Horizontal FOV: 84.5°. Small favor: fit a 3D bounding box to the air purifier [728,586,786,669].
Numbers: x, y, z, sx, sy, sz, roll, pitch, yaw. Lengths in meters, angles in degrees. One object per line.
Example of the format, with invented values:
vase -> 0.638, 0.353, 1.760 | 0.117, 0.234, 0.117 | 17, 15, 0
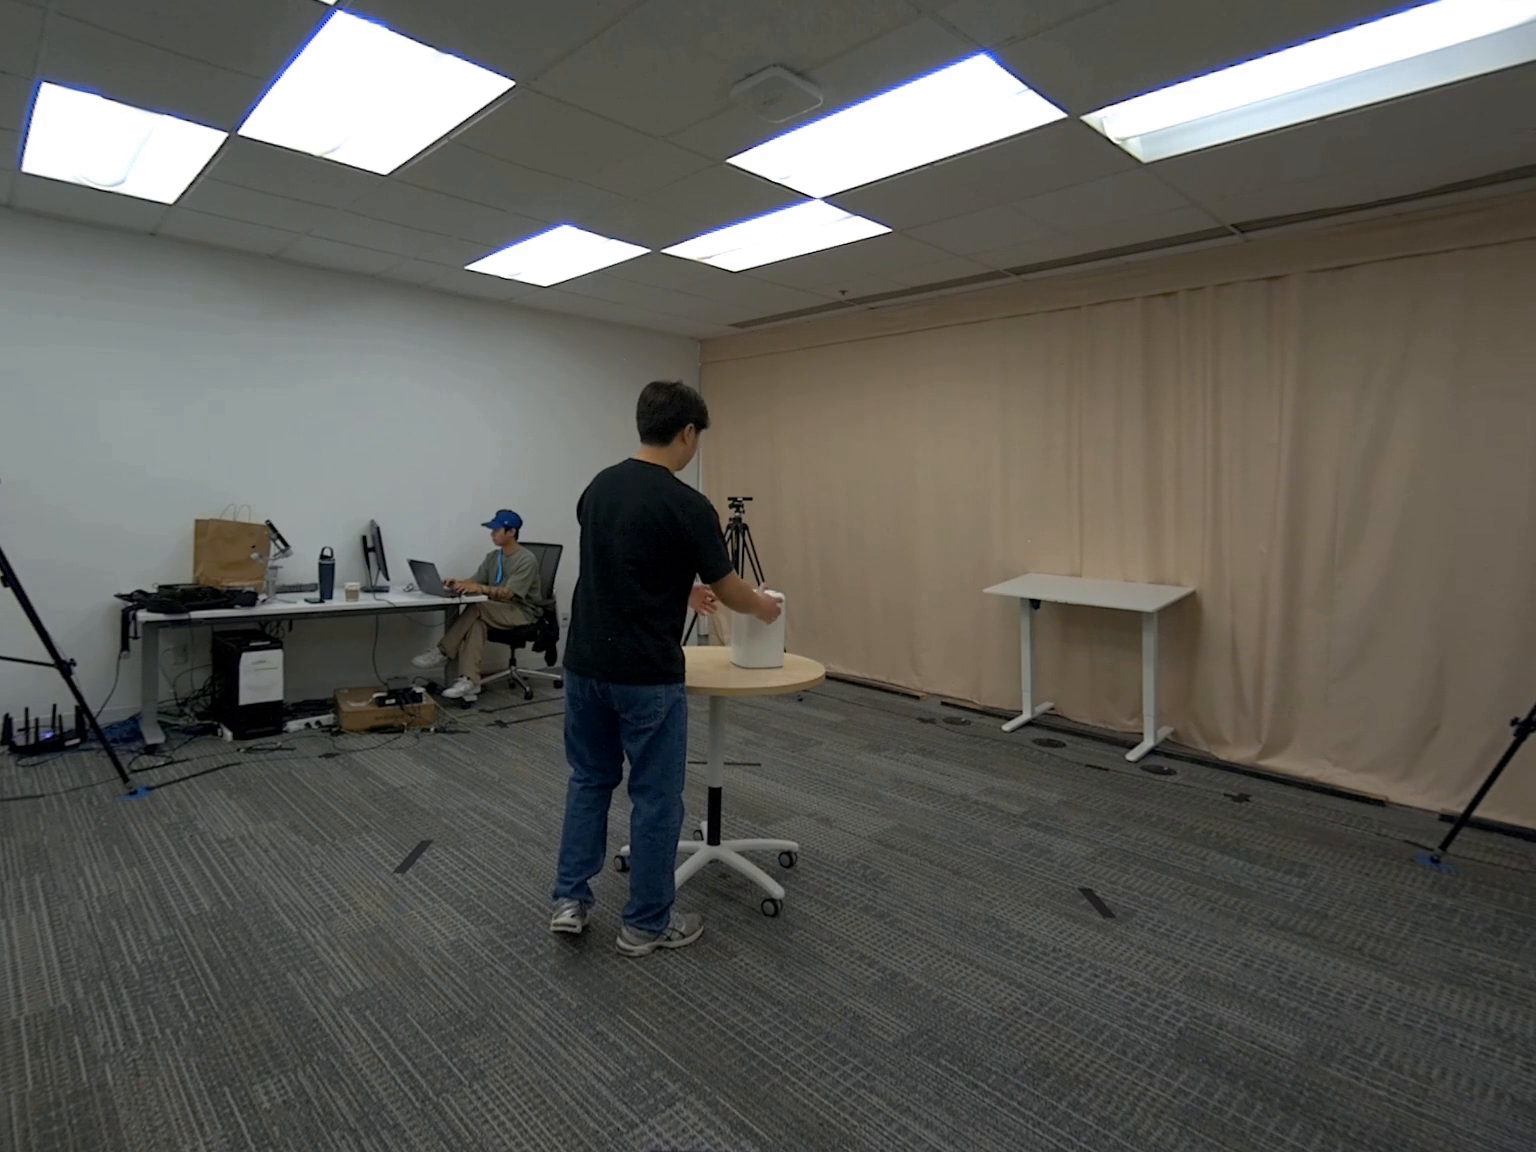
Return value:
air purifier -> -0.043, 0.188, 3.039 | 0.168, 0.264, 0.175 | 0, 5, -23
